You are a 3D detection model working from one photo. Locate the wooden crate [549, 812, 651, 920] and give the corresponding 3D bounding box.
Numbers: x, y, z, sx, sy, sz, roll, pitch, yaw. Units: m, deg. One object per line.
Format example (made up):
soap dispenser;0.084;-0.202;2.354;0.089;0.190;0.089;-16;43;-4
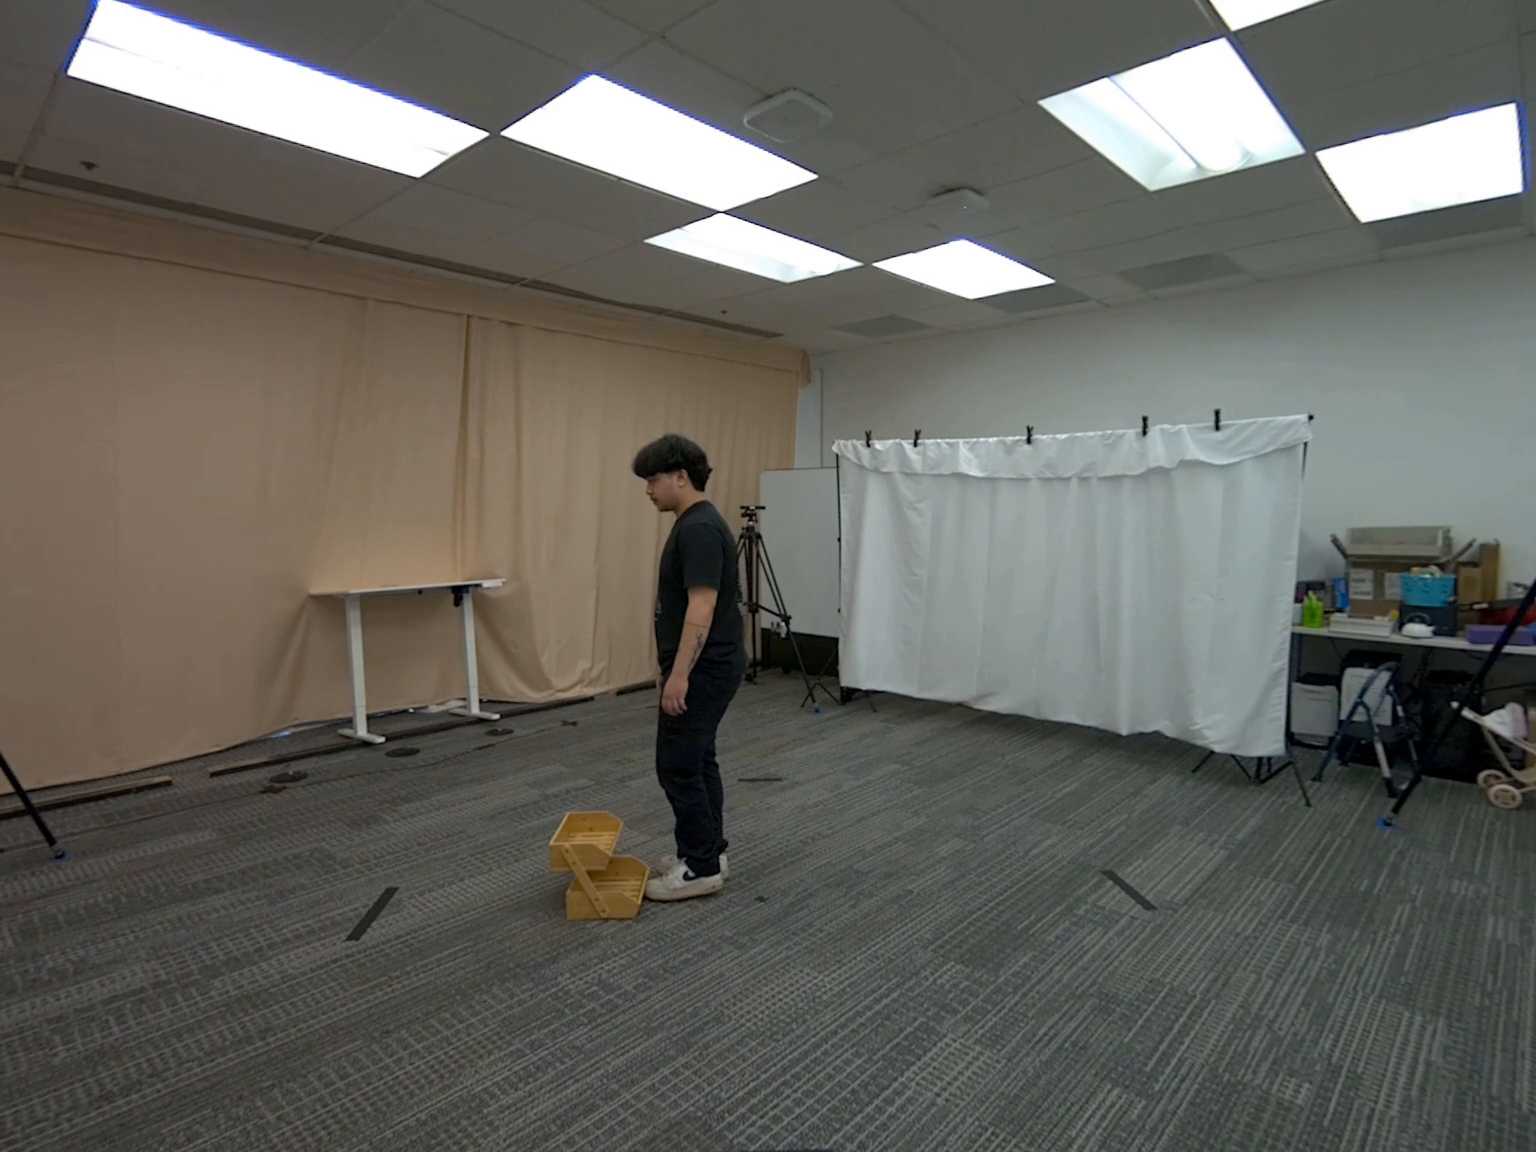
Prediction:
wooden crate;-0.586;1.014;2.984;0.302;0.273;0.325;-2;3;-1
